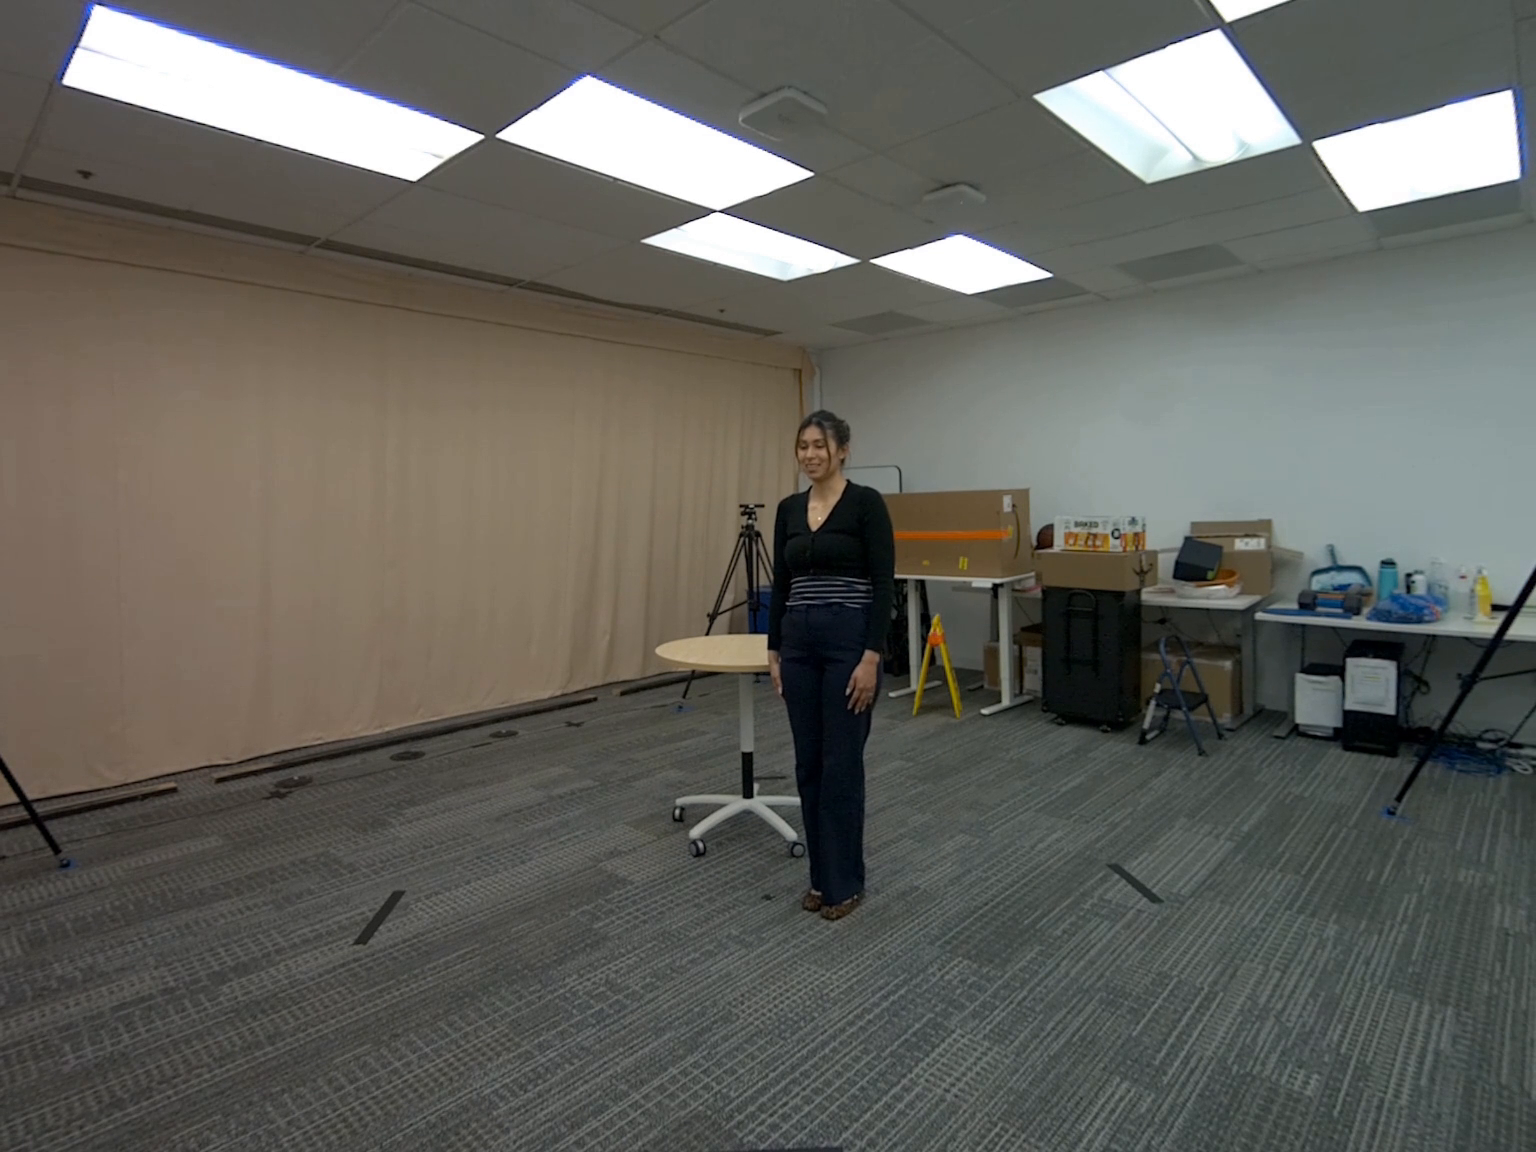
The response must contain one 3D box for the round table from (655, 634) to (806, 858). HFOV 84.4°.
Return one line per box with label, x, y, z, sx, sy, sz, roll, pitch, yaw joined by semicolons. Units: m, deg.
round table;-0.089;0.698;3.595;0.763;0.792;0.766;-1;3;-2
